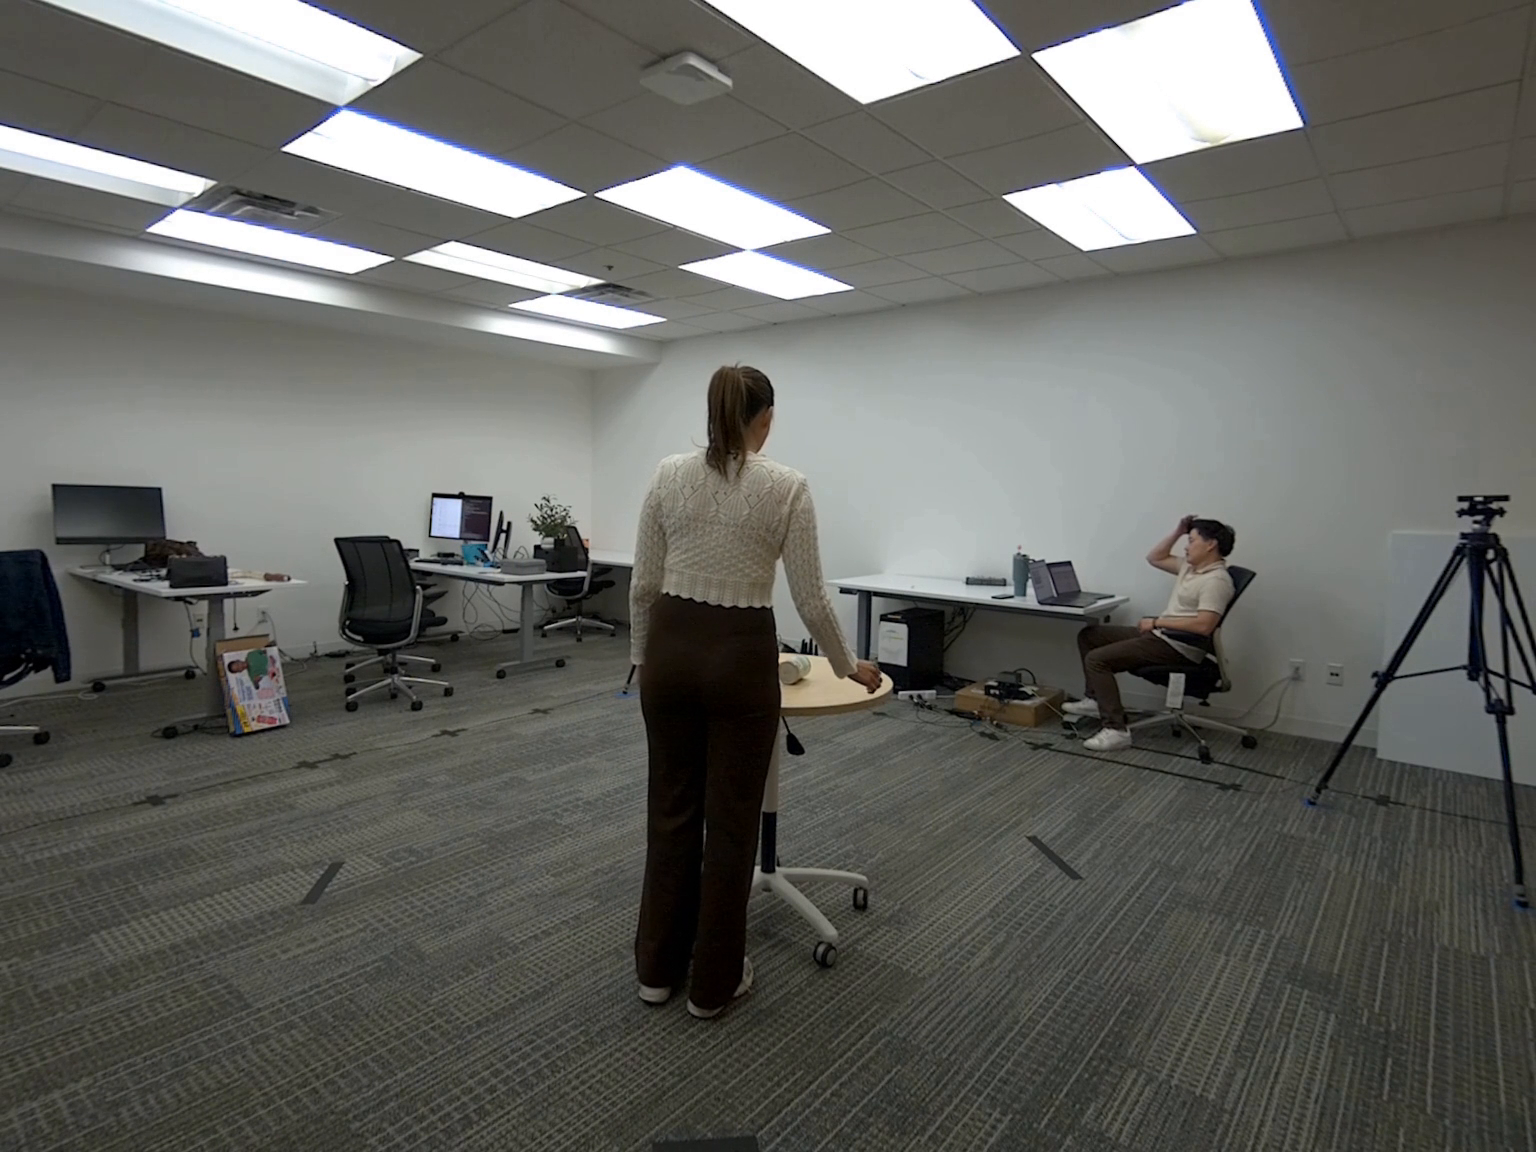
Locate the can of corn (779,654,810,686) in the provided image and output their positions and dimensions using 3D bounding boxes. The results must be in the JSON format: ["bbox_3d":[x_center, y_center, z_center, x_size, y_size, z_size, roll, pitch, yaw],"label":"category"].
[{"bbox_3d":[0.081,0.291,2.695,0.075,0.074,0.110,2,4,12],"label":"can of corn"}]
